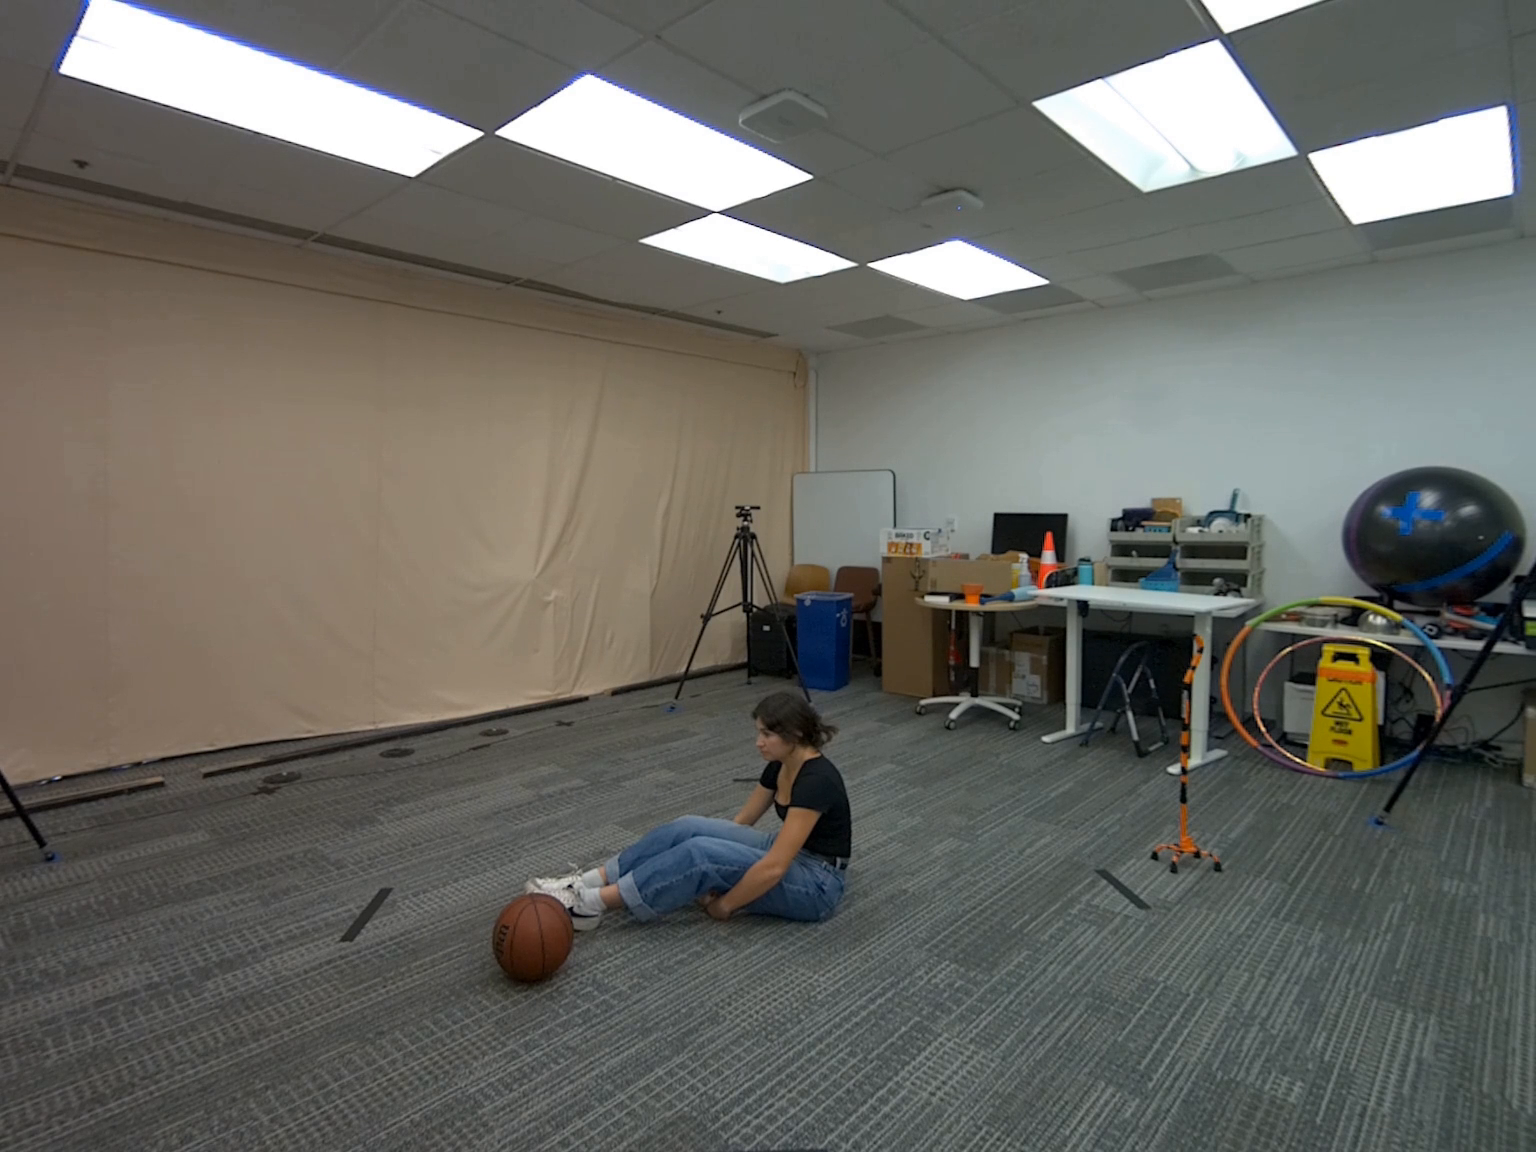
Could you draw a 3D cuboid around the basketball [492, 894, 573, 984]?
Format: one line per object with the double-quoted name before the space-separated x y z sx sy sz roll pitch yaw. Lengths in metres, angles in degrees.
"basketball" -0.698 1.068 2.499 0.236 0.235 0.237 0 4 -2
